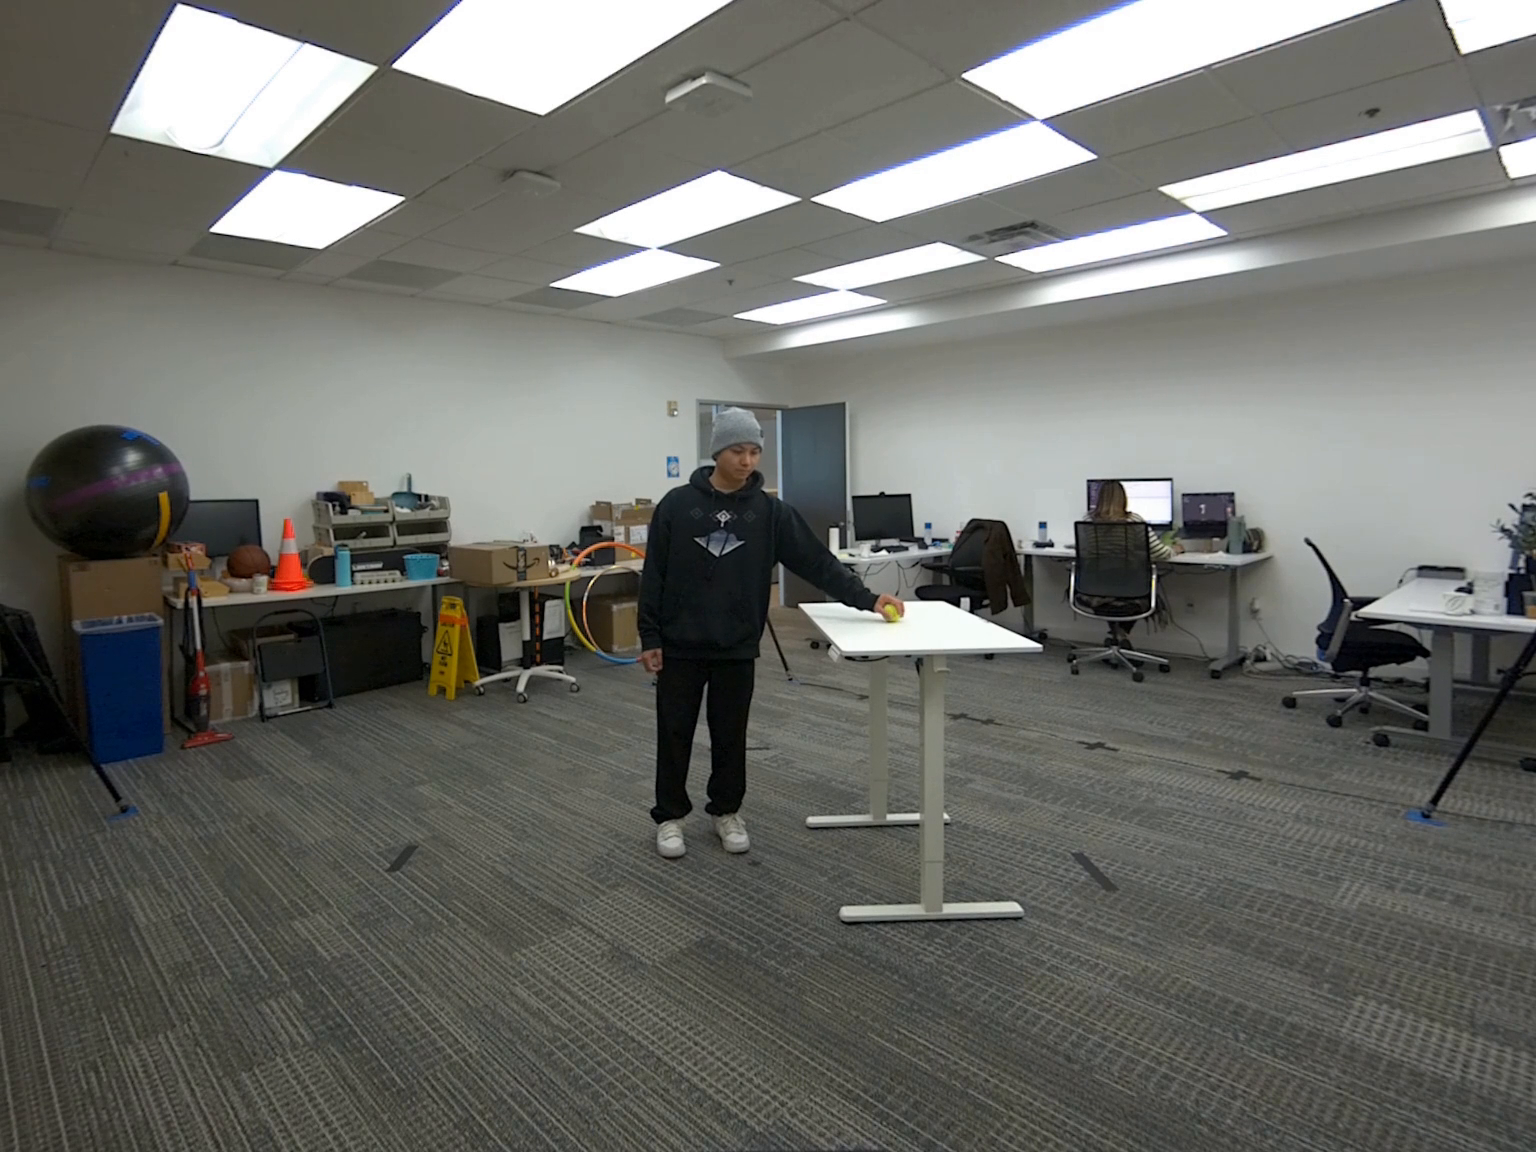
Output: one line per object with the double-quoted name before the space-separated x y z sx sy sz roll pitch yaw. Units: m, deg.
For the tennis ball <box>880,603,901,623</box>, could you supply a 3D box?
"tennis ball" 0.429 0.126 3.035 0.066 0.066 0.067 -1 5 -2
